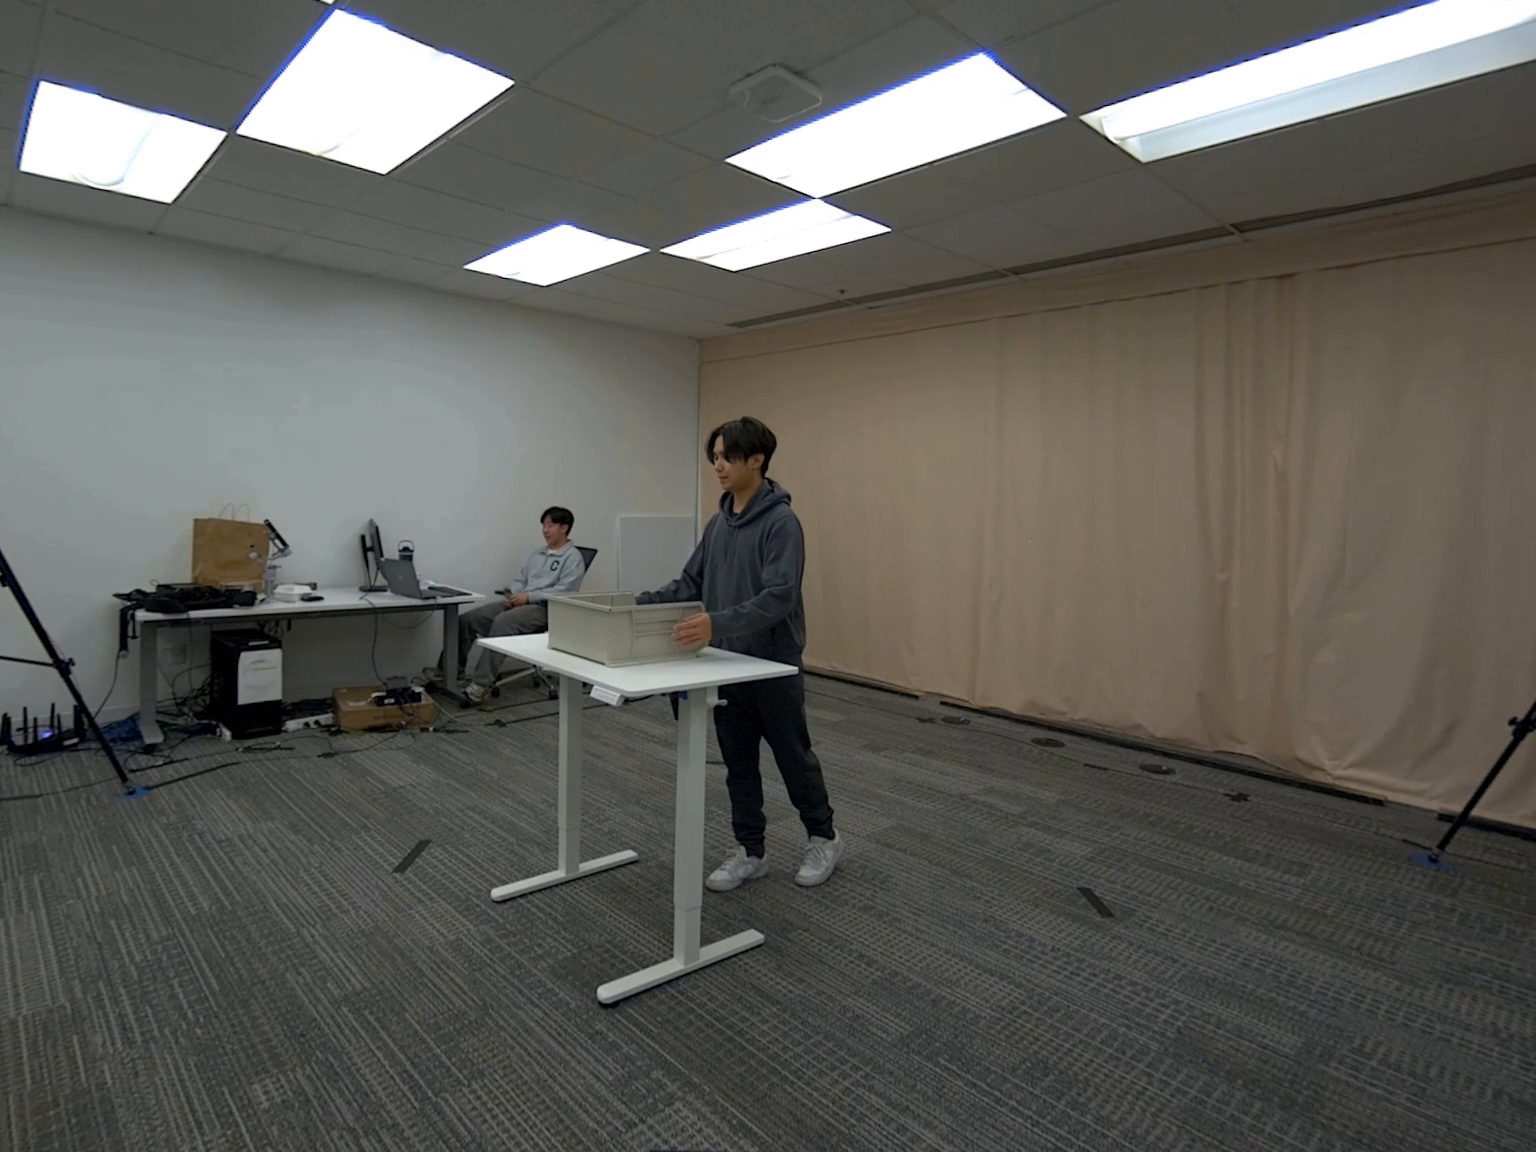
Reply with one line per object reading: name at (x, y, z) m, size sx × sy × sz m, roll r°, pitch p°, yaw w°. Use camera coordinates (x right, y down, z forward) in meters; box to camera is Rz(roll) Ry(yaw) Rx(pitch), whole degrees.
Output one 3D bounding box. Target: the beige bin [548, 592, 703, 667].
beige bin at (-0.476, 0.166, 2.719) m, size 0.369 × 0.188 × 0.433 m, roll -2°, pitch 6°, yaw -40°
